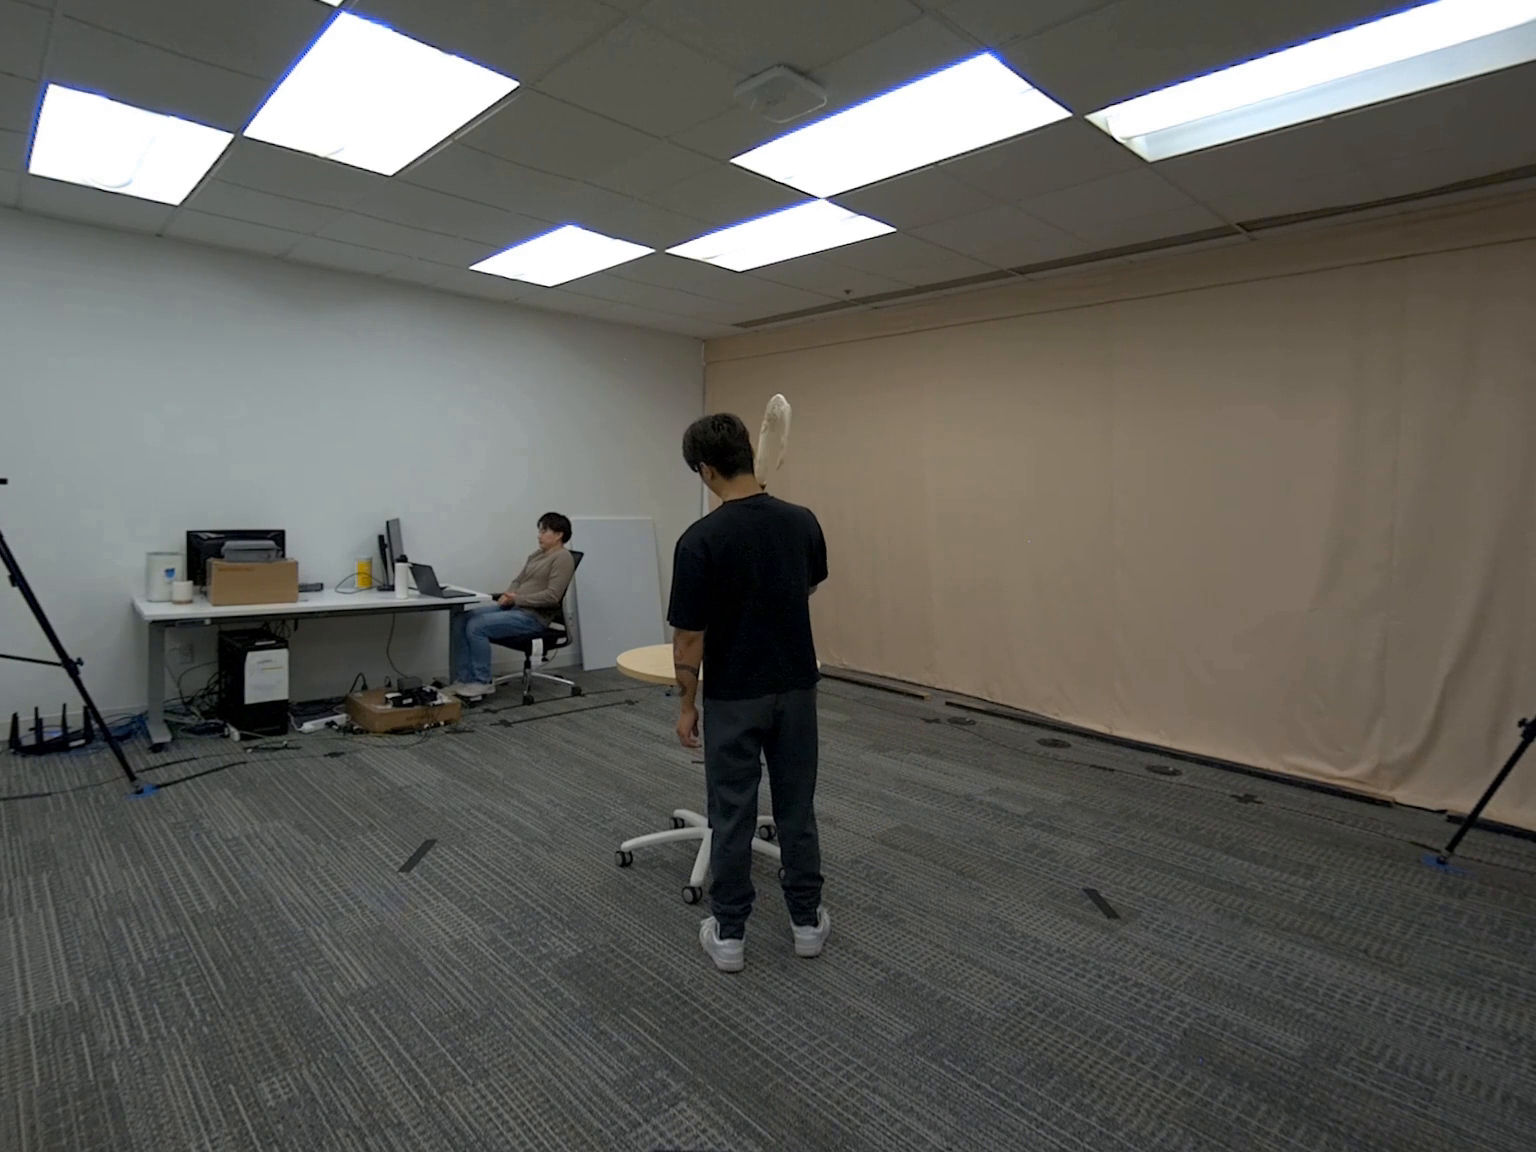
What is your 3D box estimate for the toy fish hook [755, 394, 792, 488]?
[{"bbox_3d":[-0.017,-0.309,2.679,0.048,0.499,0.230,5,30,-15],"label":"toy fish hook"}]
